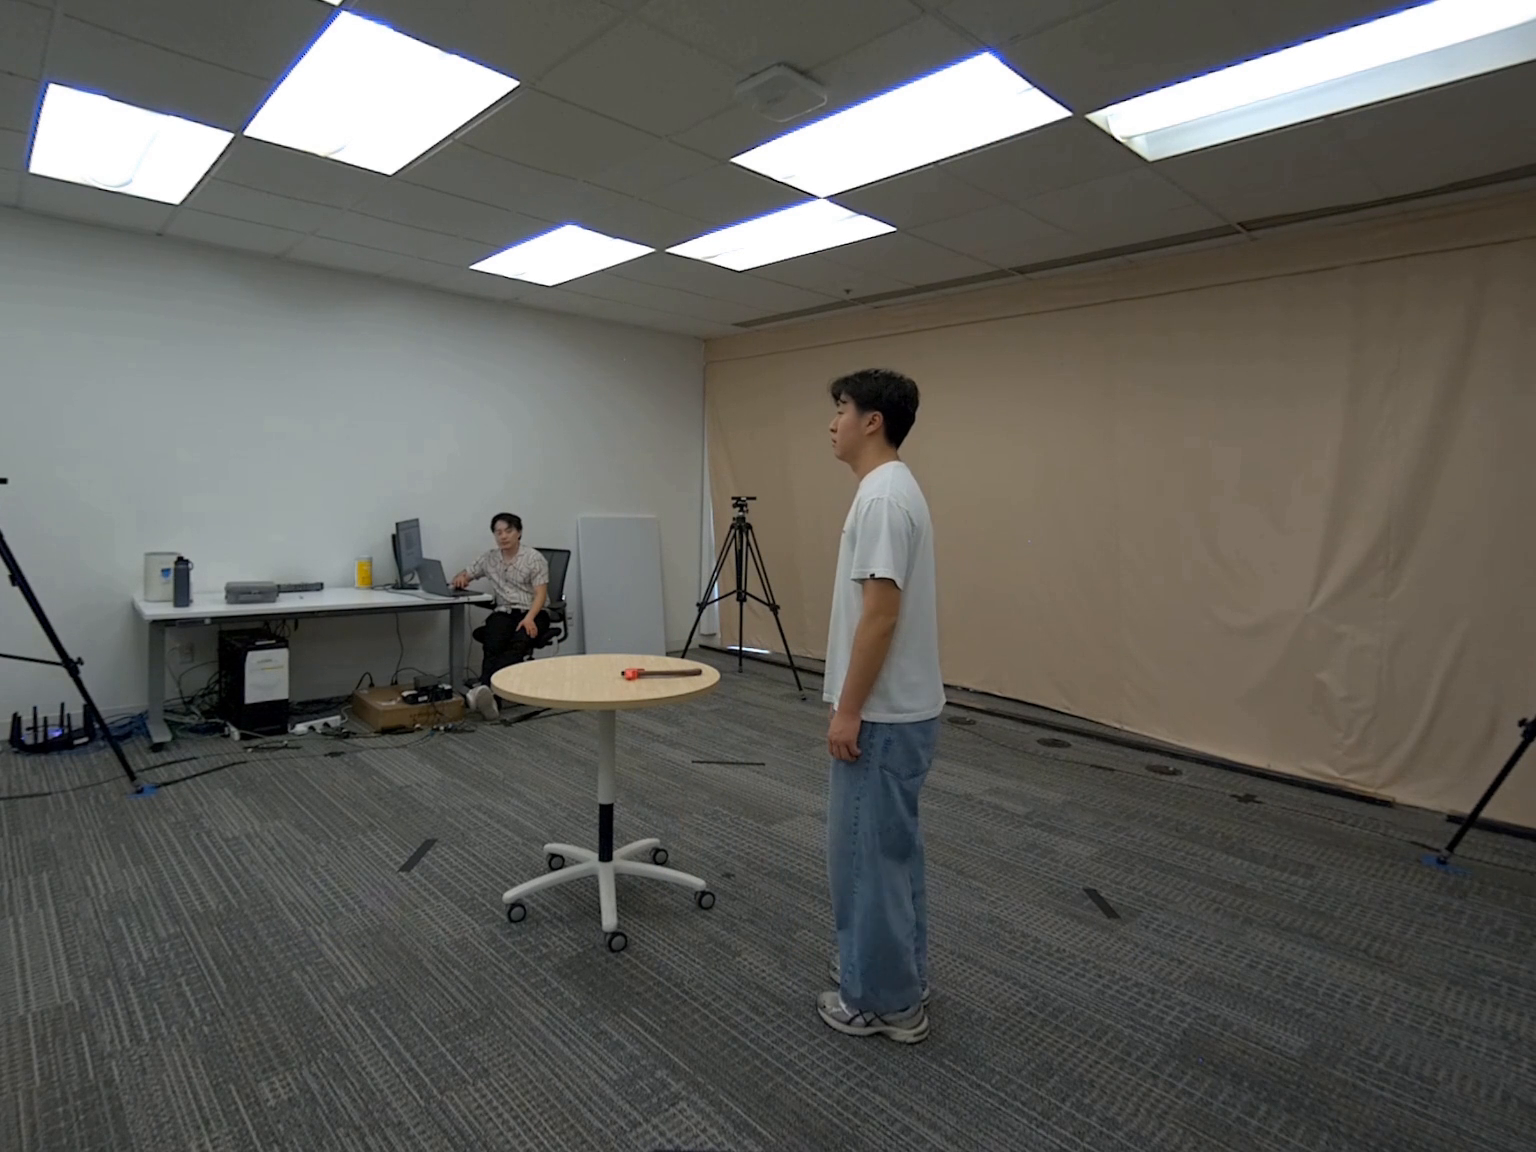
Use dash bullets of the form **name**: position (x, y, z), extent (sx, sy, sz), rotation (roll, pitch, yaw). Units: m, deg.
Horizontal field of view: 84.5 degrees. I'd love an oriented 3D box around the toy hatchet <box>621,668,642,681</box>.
- **toy hatchet**: position (-0.383, 0.331, 2.856), extent (0.265, 0.029, 0.133), rotation (0, 0, -27)
